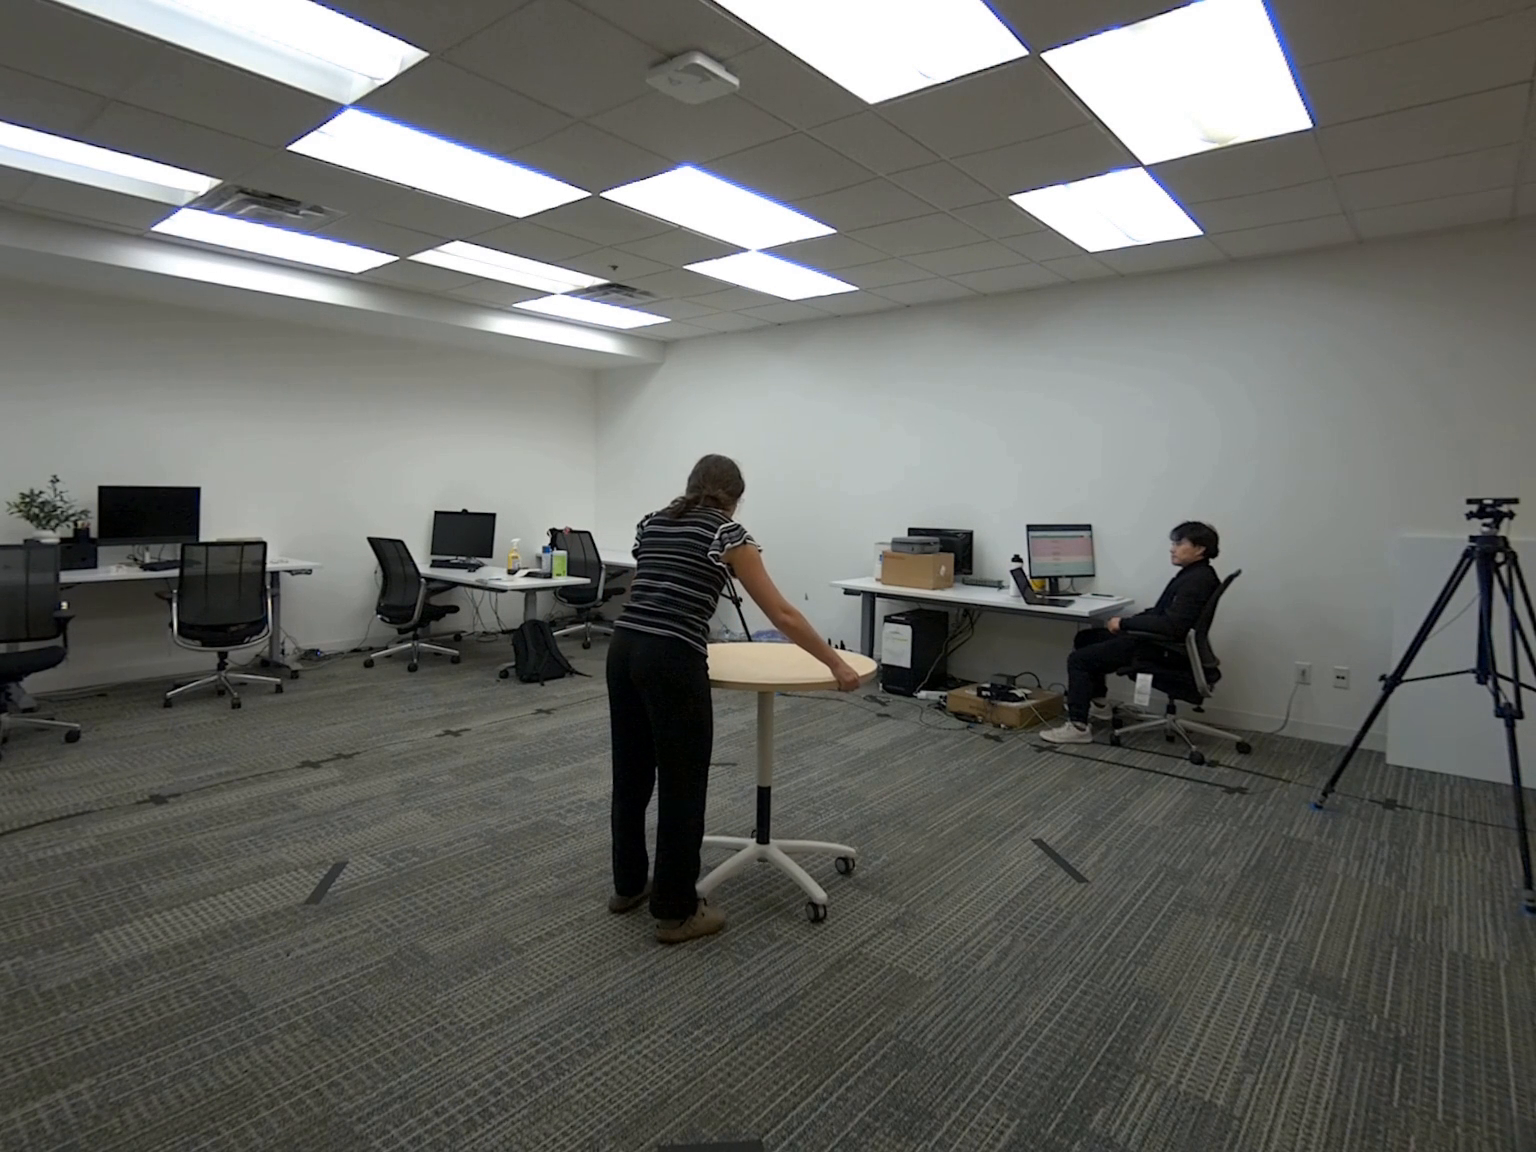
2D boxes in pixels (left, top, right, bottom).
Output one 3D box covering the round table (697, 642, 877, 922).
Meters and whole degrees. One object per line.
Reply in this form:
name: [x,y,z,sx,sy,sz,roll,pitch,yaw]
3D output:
round table: [-0.021,0.690,3.002,0.763,0.792,0.767,1,4,-2]
